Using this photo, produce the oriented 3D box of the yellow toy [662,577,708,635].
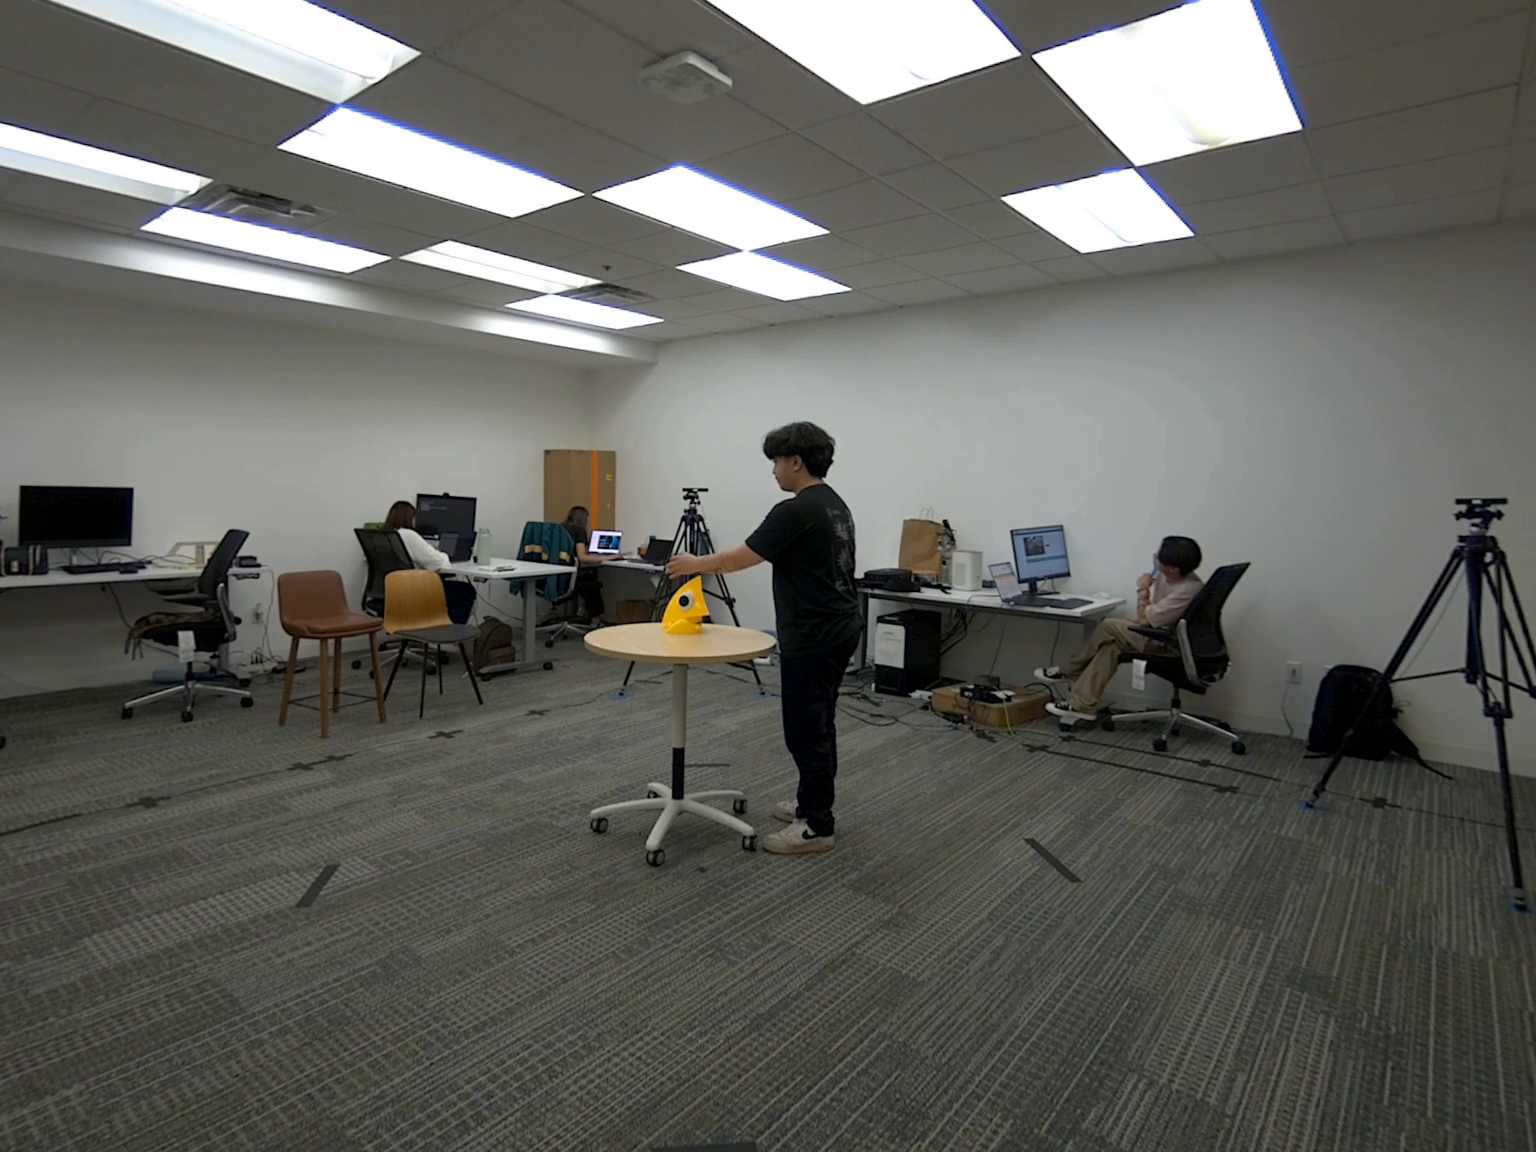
[{"bbox_3d":[-0.361,0.108,3.606,0.191,0.230,0.207,0,5,-9],"label":"yellow toy"}]
